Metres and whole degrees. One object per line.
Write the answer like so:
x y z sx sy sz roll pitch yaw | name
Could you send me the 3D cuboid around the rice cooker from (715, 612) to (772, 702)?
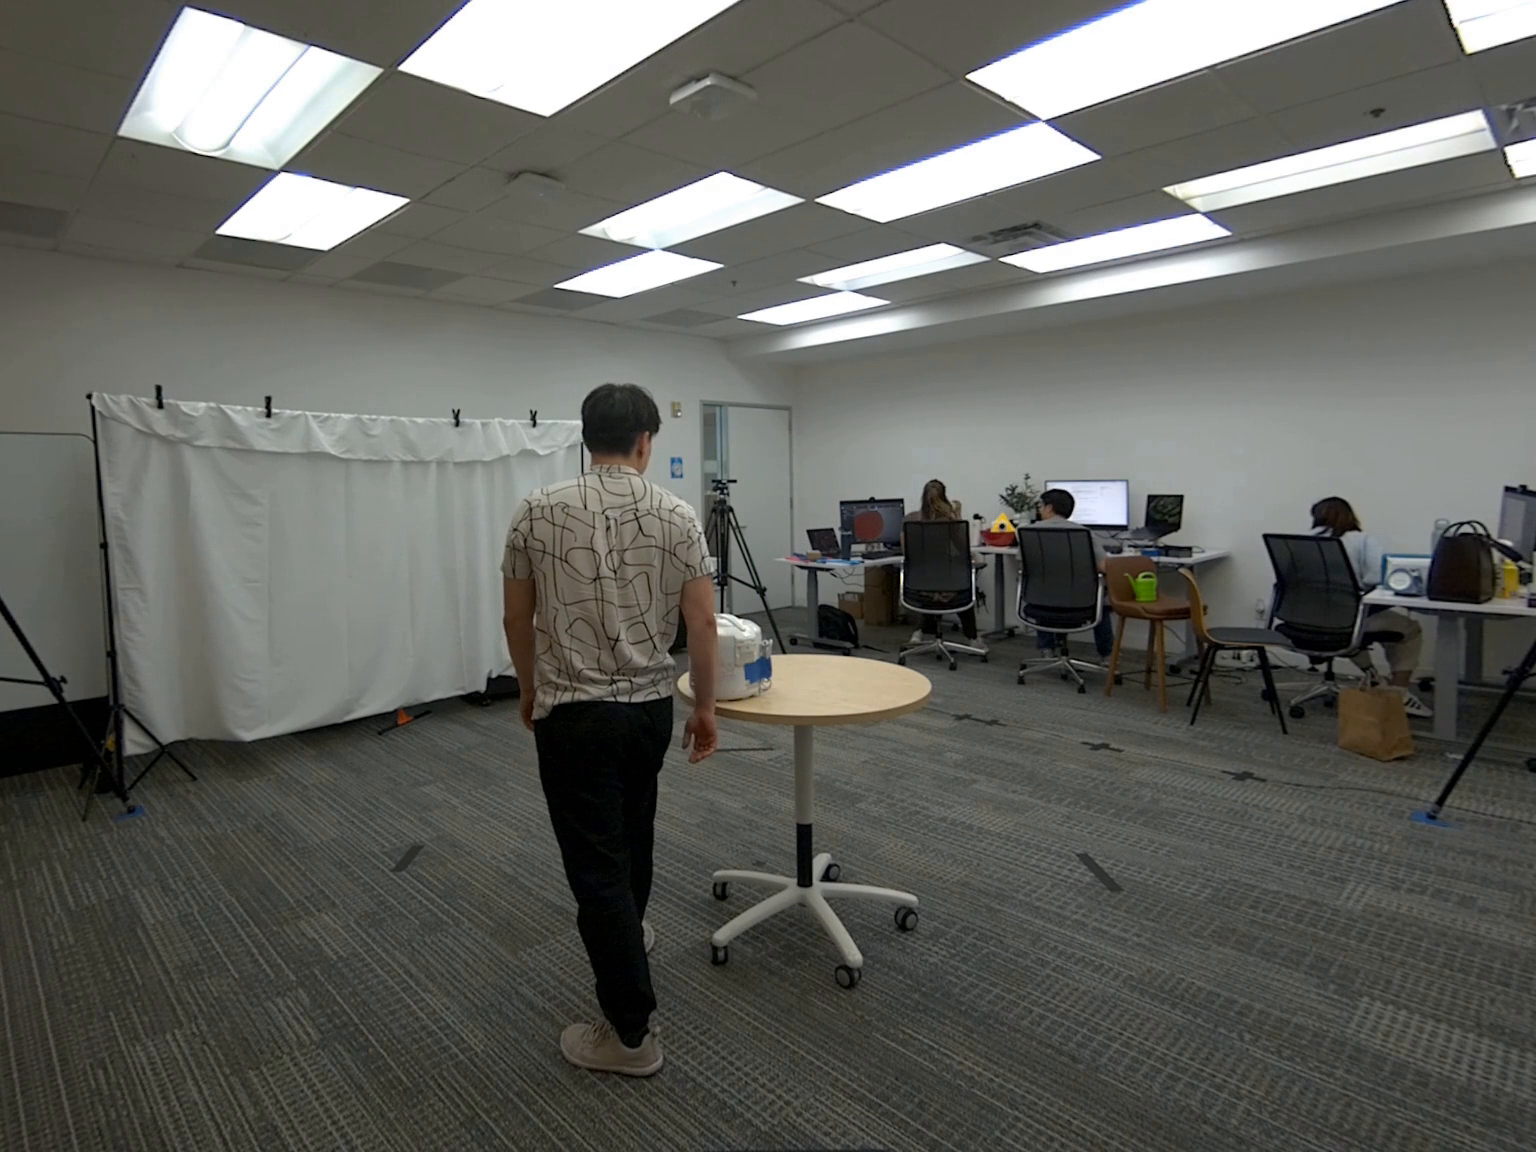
-0.118 0.227 2.448 0.212 0.232 0.227 -4 4 -35 | rice cooker
